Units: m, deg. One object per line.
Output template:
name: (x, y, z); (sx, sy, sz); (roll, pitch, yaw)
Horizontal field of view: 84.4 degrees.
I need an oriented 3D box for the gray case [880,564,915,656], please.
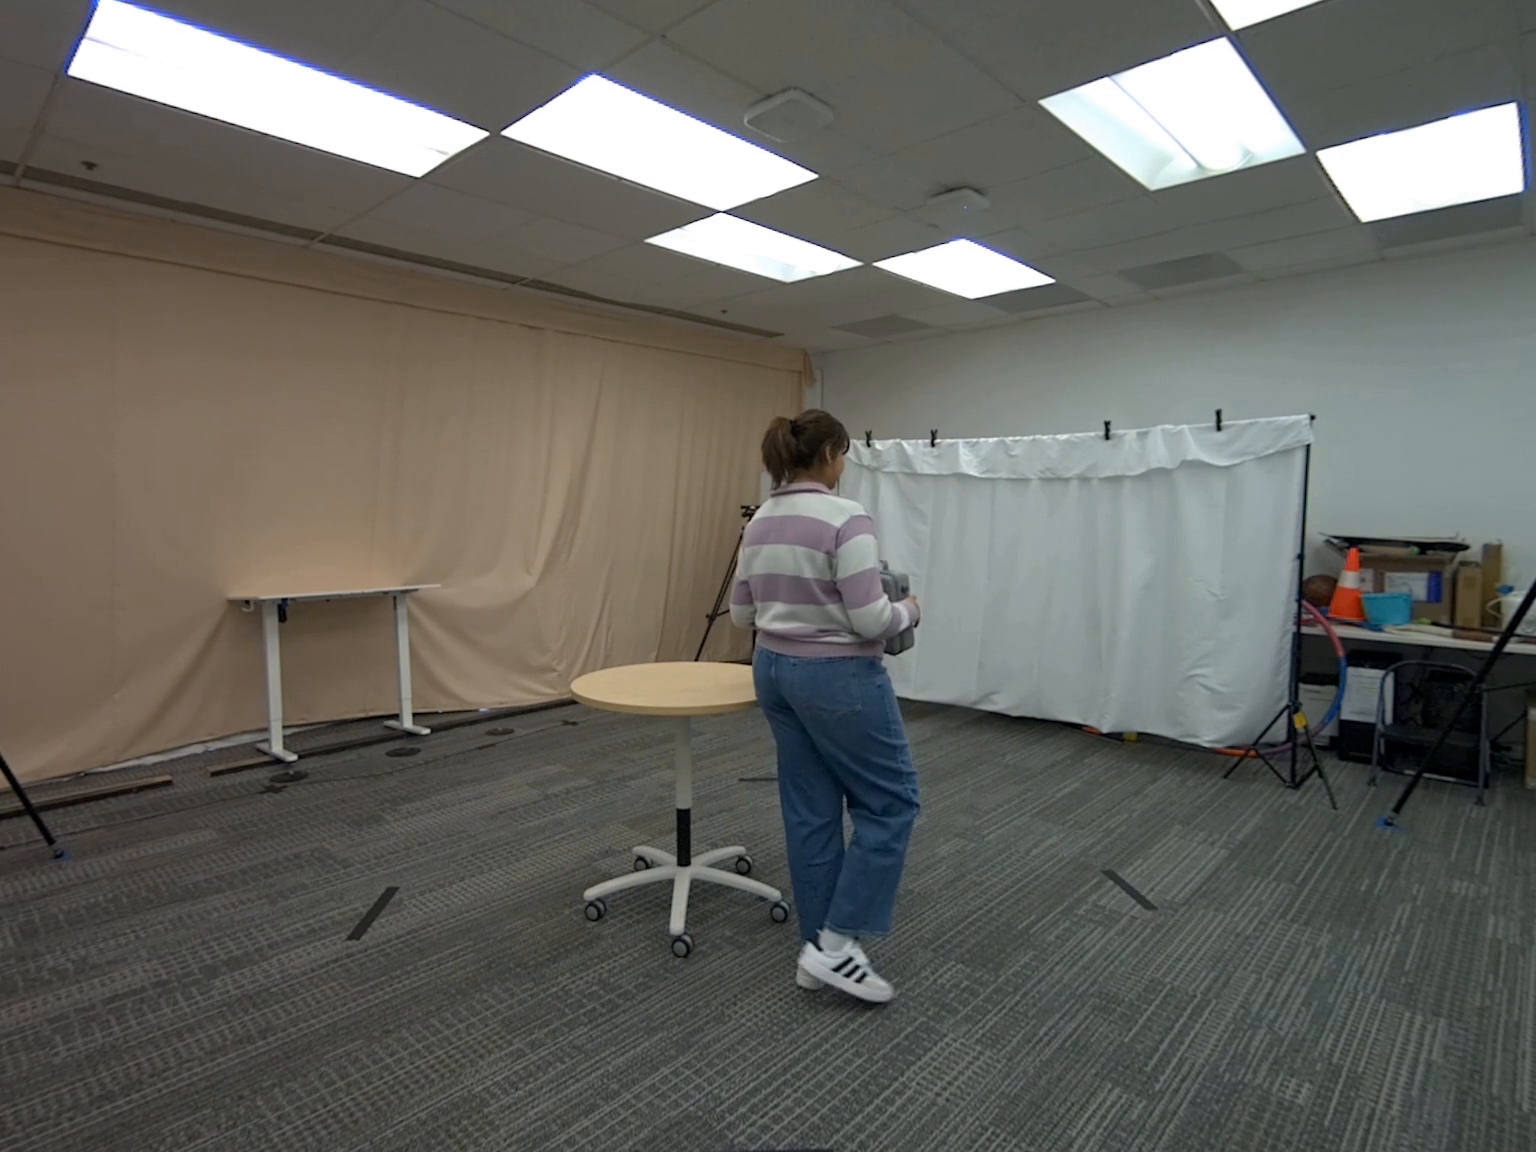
gray case: (0.338, 0.106, 2.650); (0.101, 0.260, 0.265); (-7, 6, -38)
